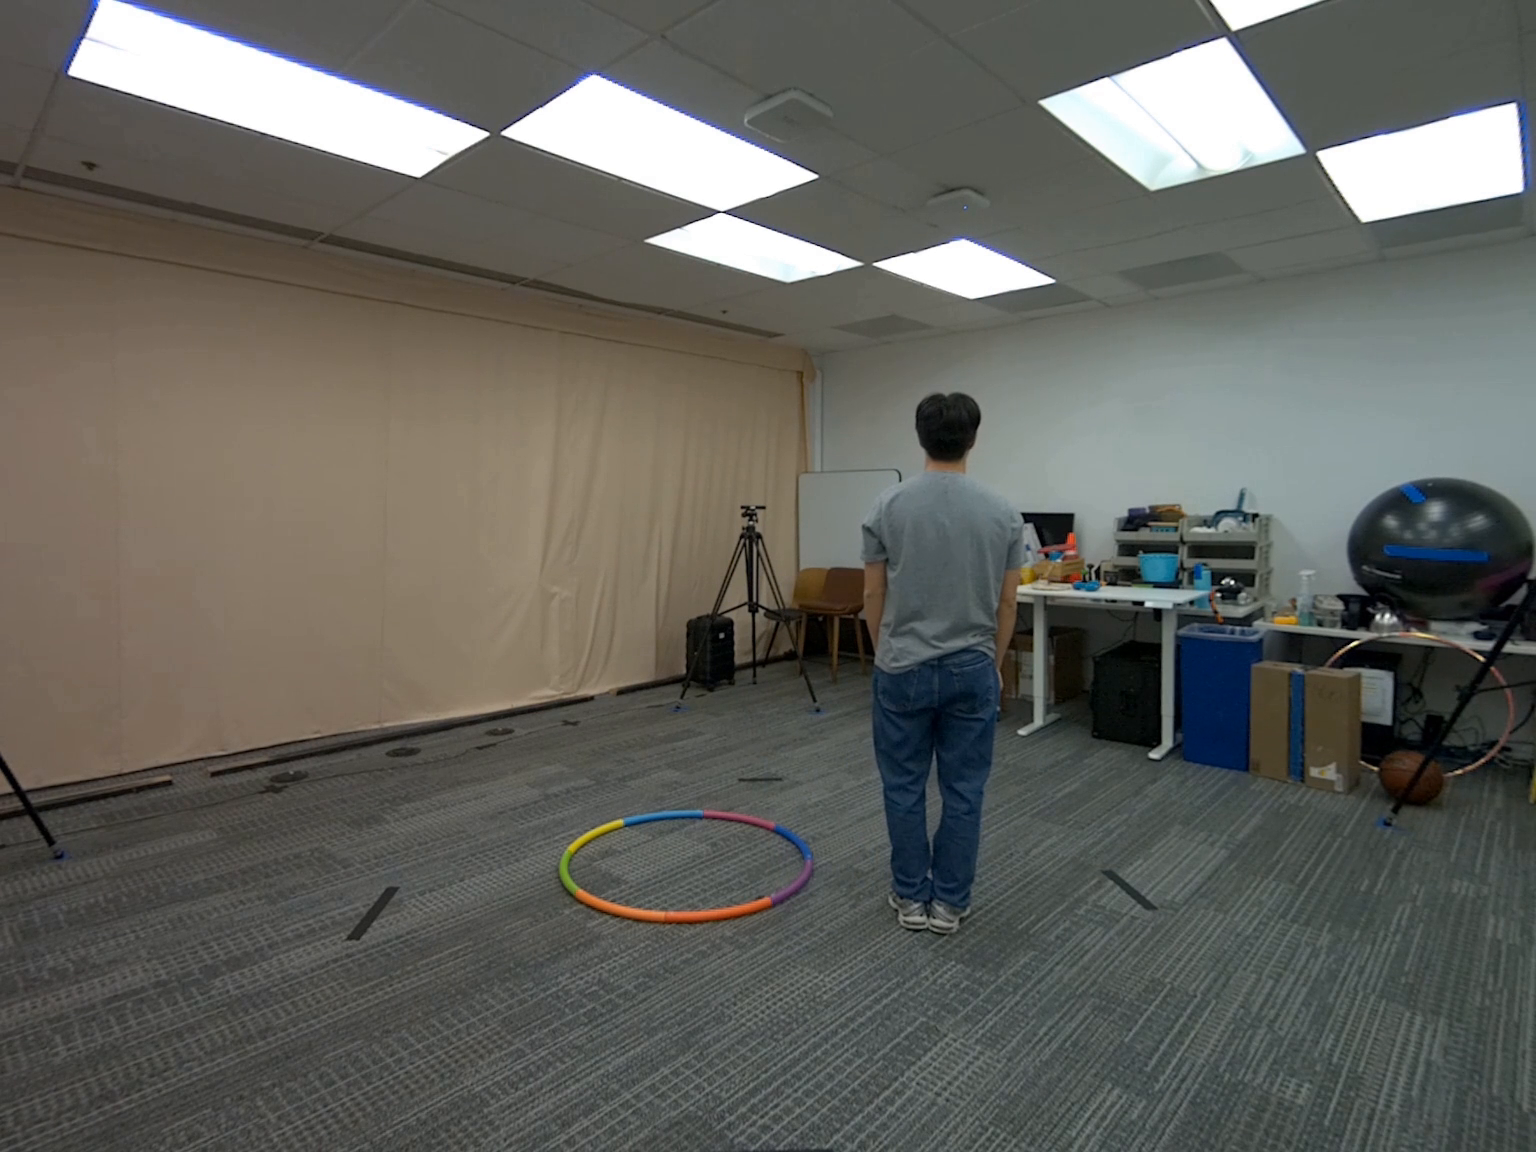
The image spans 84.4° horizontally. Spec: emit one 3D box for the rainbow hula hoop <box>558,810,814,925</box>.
[{"bbox_3d":[-0.312,1.092,3.290,0.978,0.035,0.982,0,4,-2],"label":"rainbow hula hoop"}]
